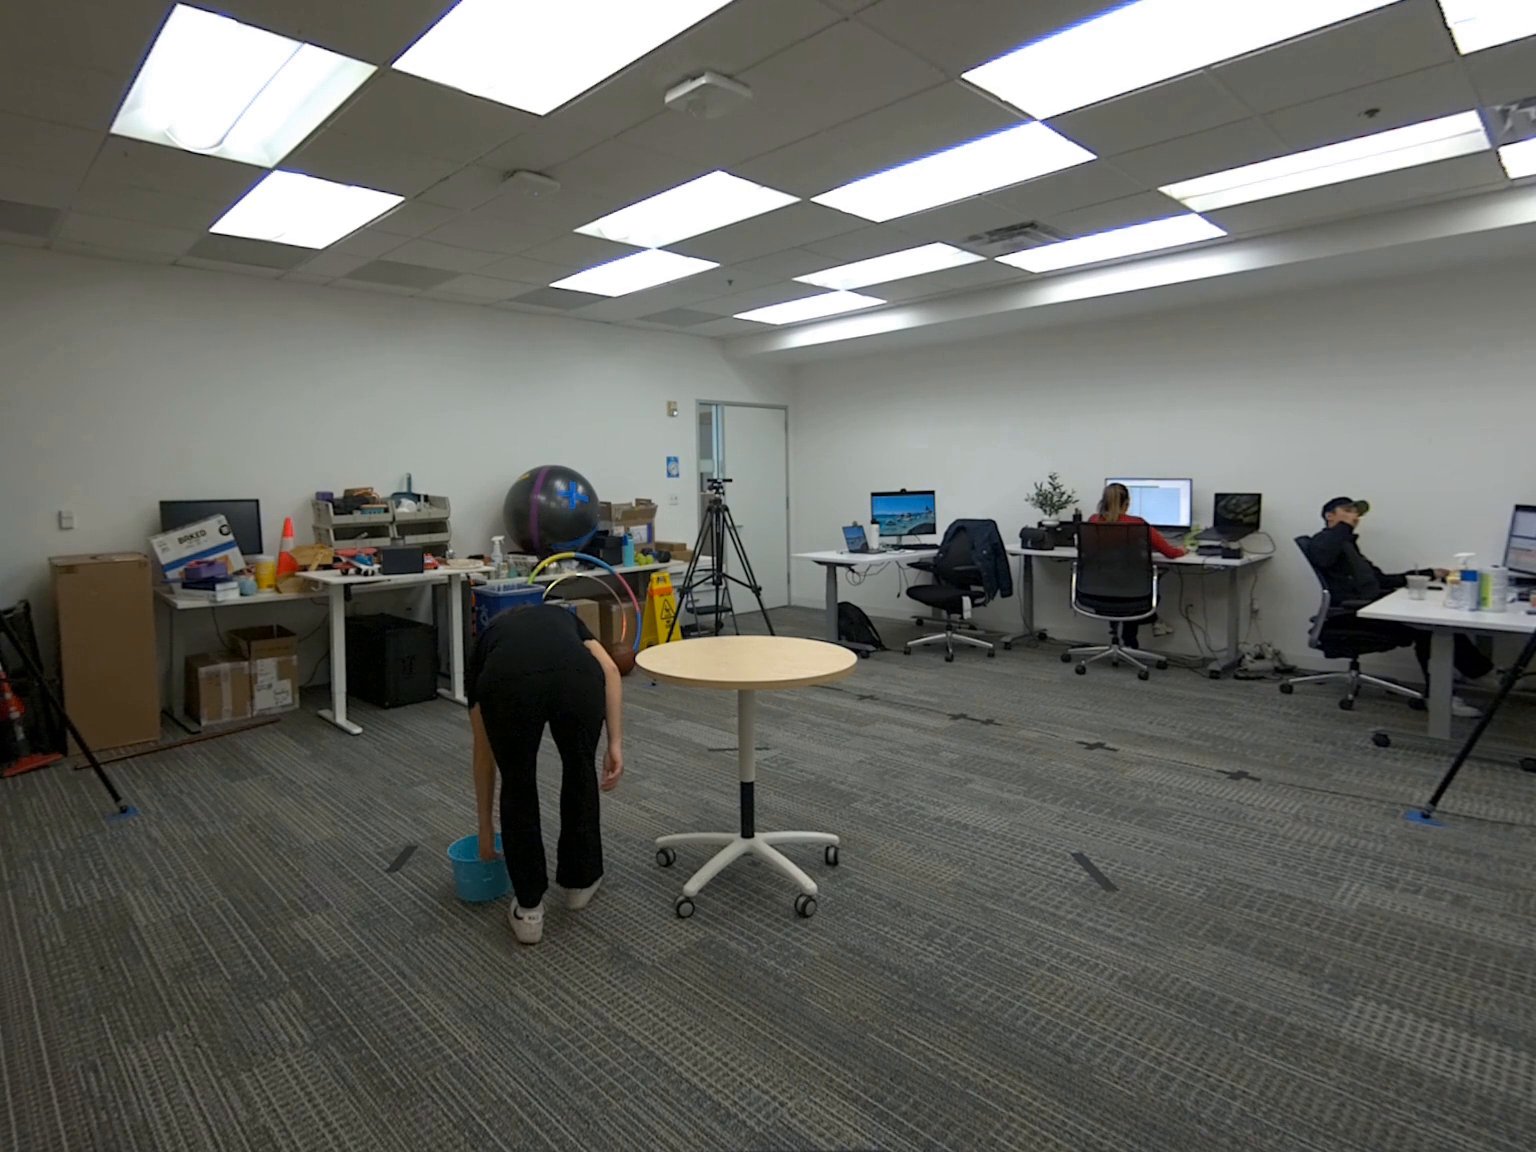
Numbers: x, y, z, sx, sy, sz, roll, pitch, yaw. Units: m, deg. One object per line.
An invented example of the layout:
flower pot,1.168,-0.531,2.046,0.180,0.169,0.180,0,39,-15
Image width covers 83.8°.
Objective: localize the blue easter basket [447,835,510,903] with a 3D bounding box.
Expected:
blue easter basket,-0.964,1.001,2.943,0.243,0.155,0.245,-2,6,-2
